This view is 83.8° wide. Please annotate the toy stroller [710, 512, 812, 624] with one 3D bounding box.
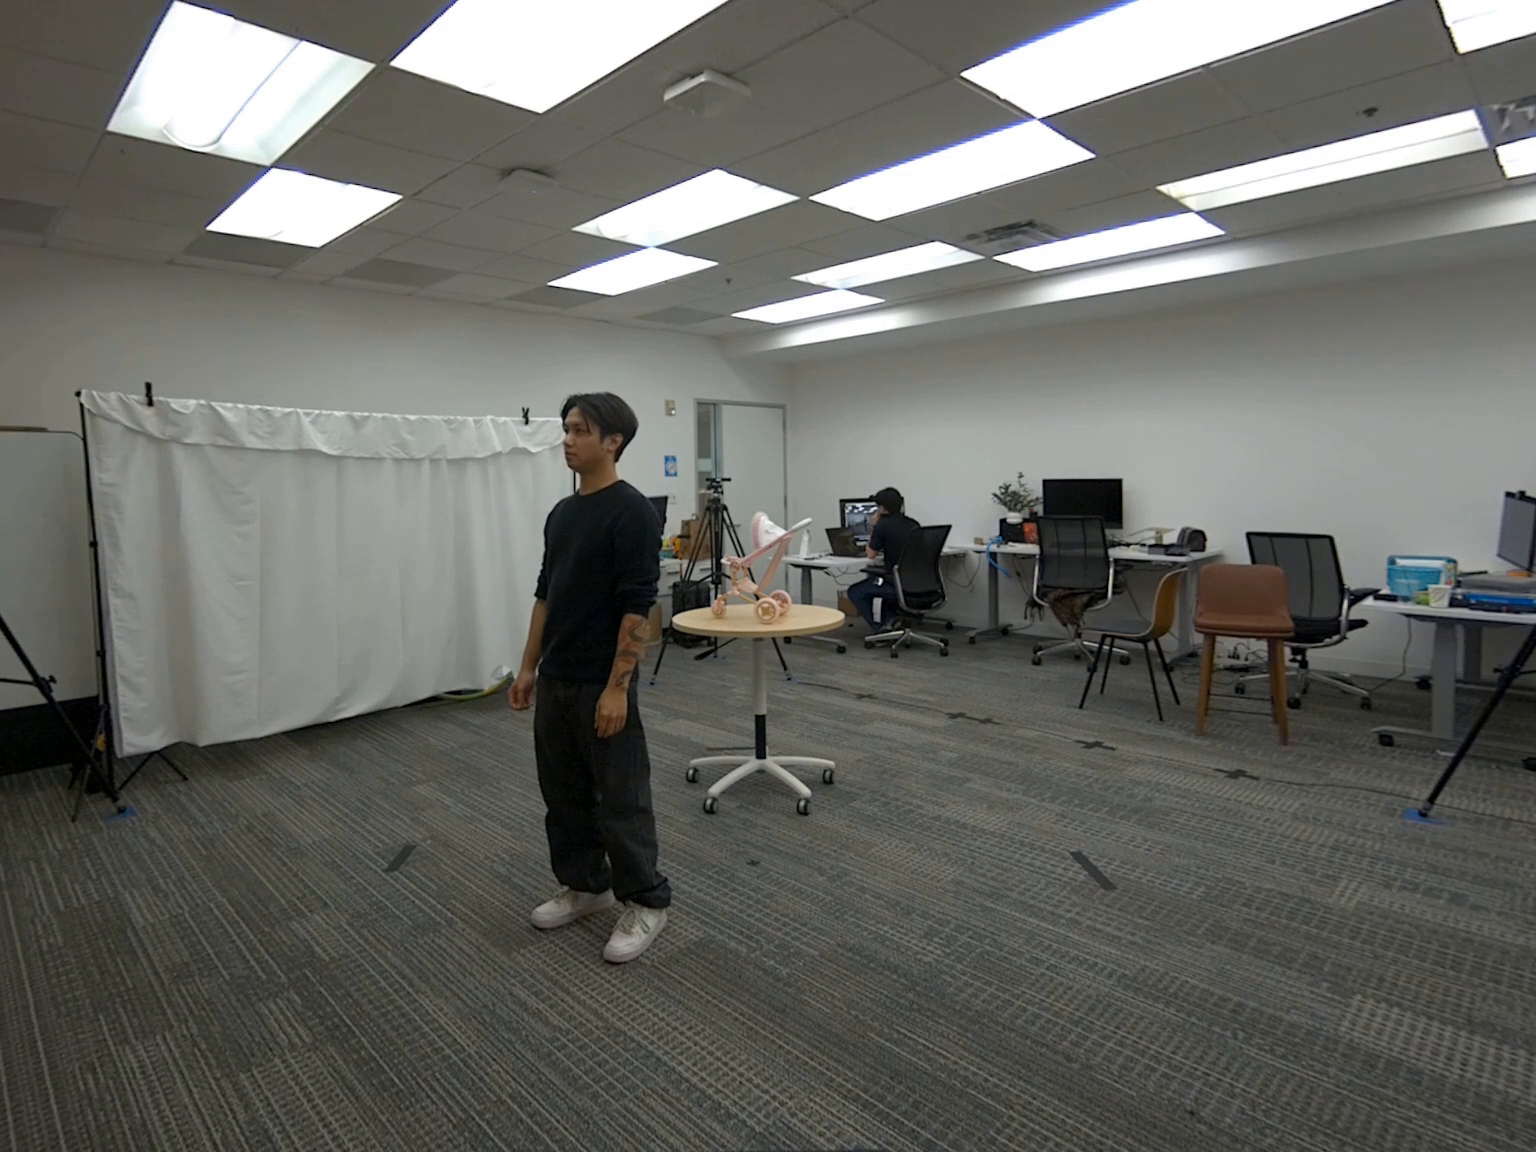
[{"bbox_3d":[-0.045,-0.037,3.731,0.348,0.531,0.278,17,10,17],"label":"toy stroller"}]
